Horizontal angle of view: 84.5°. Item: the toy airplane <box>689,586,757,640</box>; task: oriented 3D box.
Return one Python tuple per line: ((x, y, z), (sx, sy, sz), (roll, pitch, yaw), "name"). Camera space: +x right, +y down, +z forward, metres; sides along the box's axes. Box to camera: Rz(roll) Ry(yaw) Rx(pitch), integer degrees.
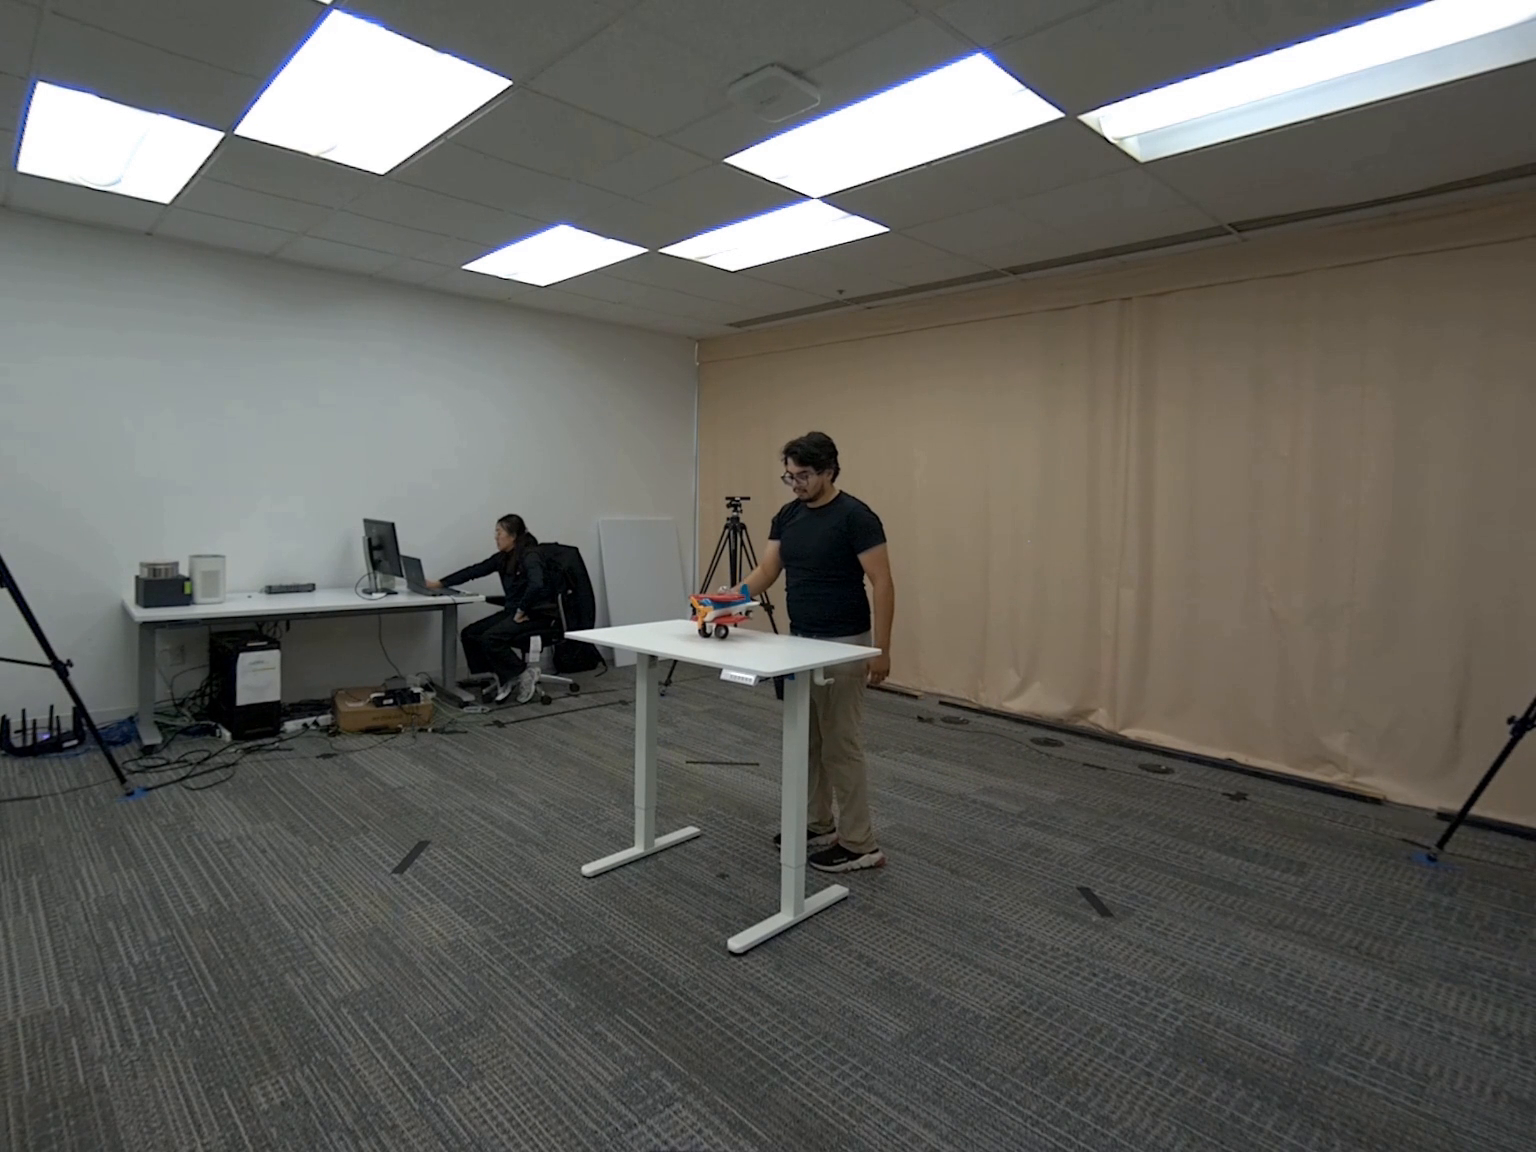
((-0.177, 0.123, 3.085), (0.254, 0.154, 0.260), (-10, 16, 17), "toy airplane")
